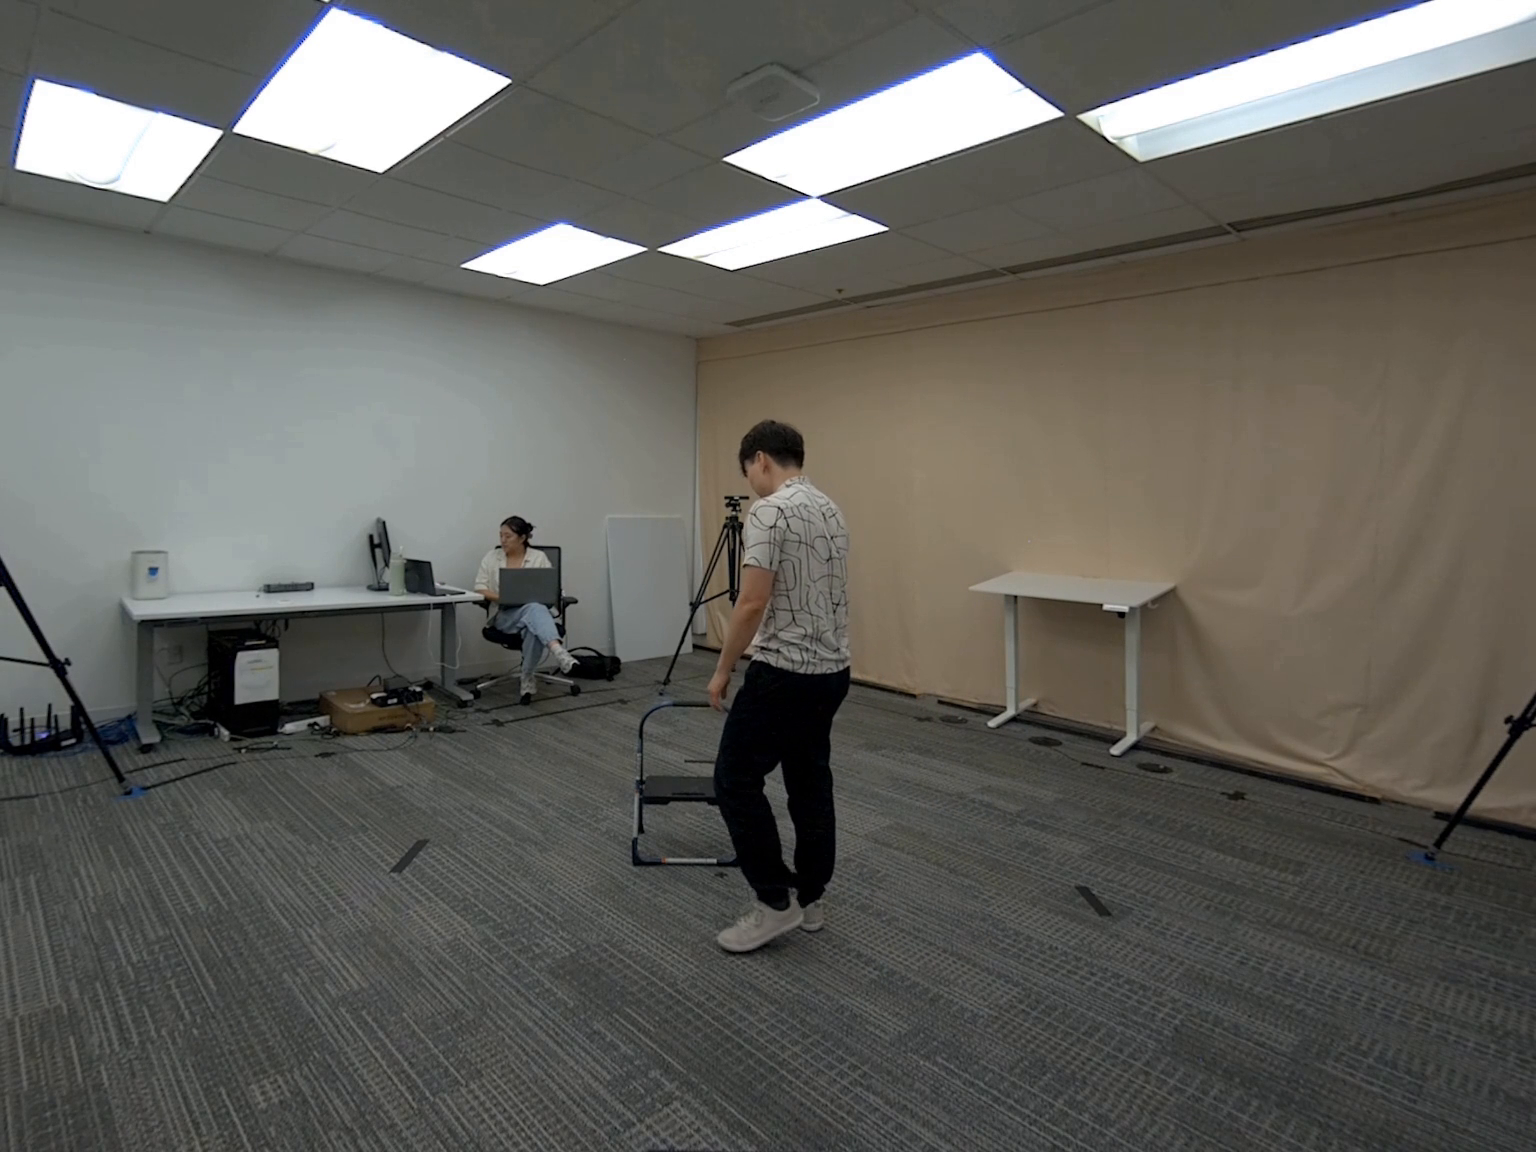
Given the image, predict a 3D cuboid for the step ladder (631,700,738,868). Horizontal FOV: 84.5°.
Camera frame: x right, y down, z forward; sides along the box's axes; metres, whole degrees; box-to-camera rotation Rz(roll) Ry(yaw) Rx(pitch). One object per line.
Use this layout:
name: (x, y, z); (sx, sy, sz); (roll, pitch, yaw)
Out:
step ladder: (-0.319, 0.781, 3.319); (0.429, 0.605, 0.351); (1, 3, -4)
